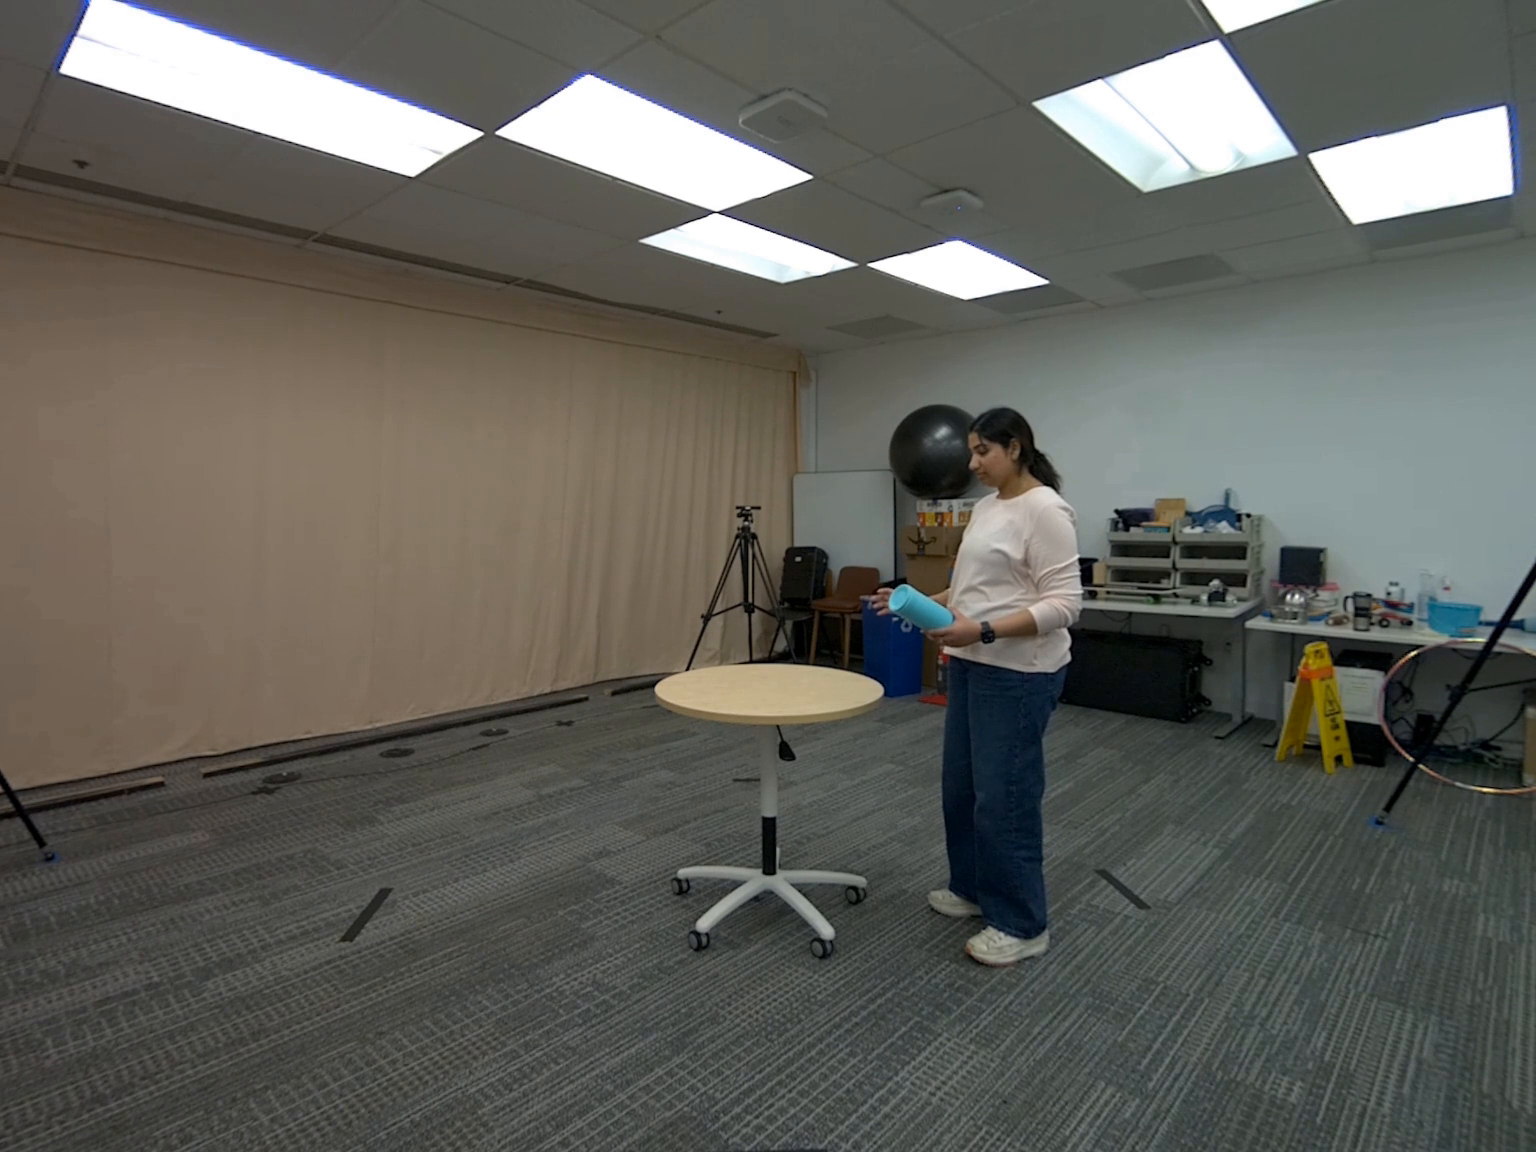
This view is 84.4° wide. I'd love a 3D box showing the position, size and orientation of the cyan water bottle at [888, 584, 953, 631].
[{"bbox_3d":[0.494,0.122,2.509,0.277,0.092,0.094,29,-7,-19],"label":"cyan water bottle"}]
